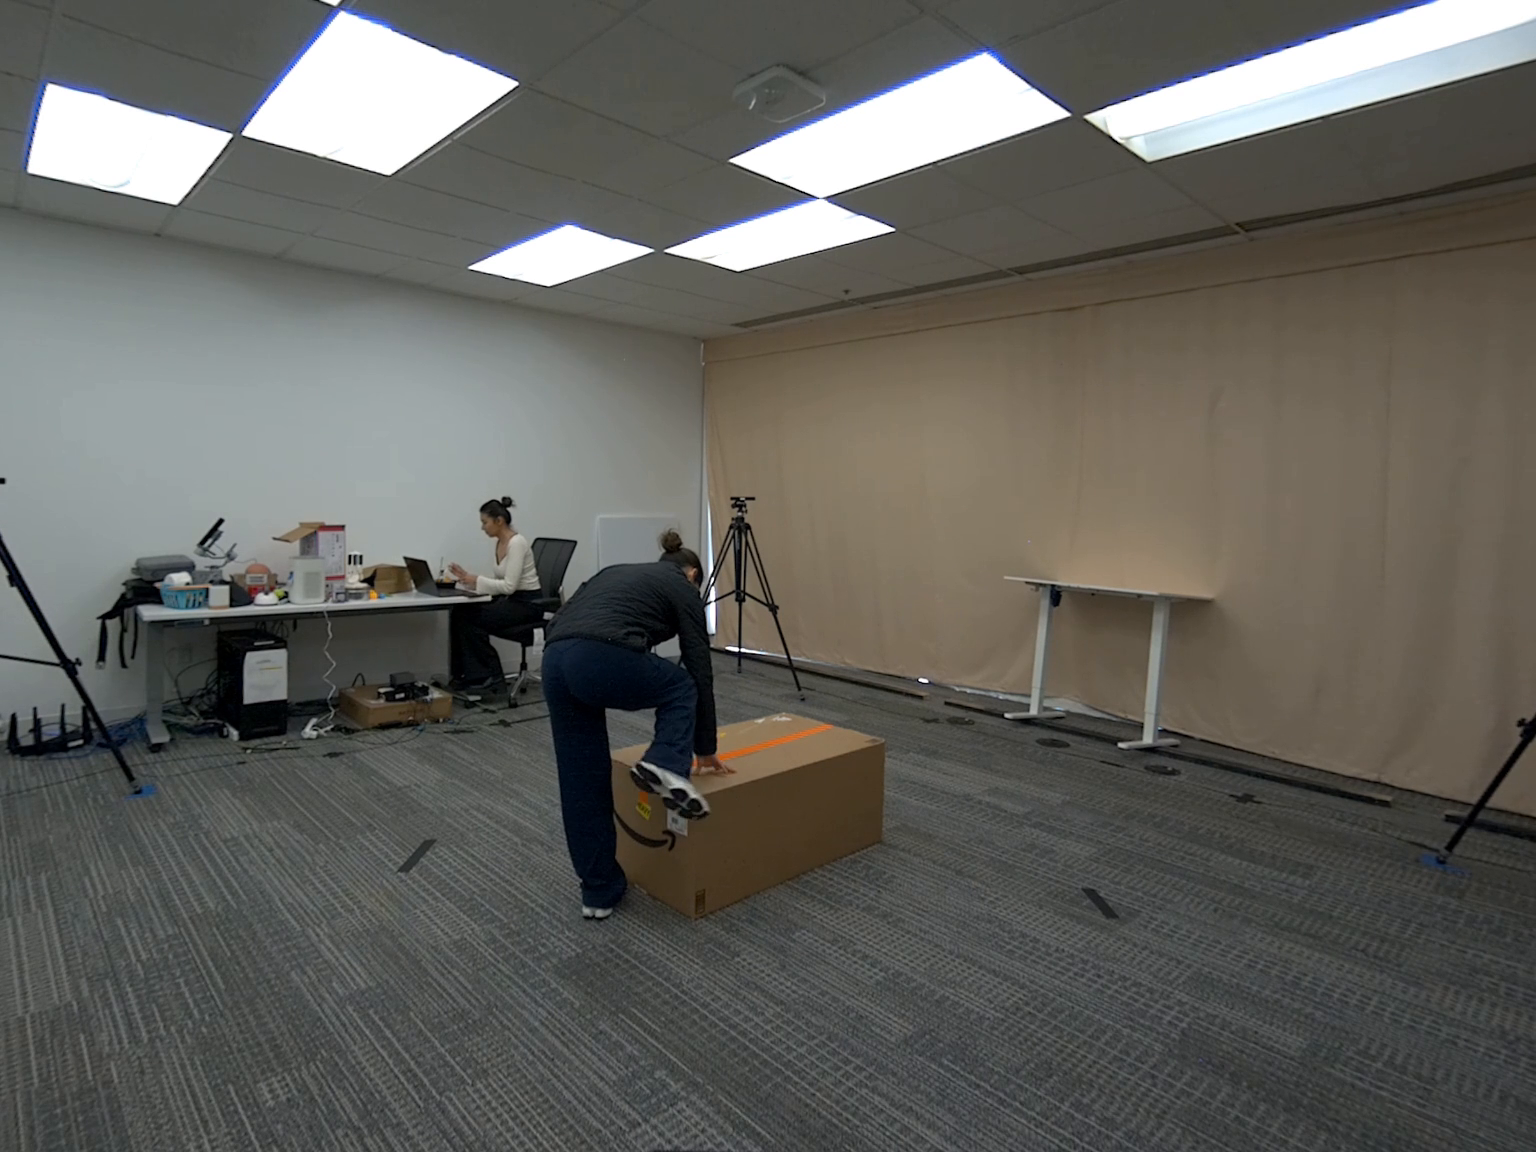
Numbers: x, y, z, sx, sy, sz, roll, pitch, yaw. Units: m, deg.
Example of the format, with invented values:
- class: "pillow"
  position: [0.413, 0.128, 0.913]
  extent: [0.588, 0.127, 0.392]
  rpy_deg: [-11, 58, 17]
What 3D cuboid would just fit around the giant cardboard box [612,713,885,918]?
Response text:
- class: "giant cardboard box"
  position: [-0.090, 0.884, 3.295]
  extent: [1.003, 0.445, 0.599]
  rpy_deg: [-2, 7, -45]
